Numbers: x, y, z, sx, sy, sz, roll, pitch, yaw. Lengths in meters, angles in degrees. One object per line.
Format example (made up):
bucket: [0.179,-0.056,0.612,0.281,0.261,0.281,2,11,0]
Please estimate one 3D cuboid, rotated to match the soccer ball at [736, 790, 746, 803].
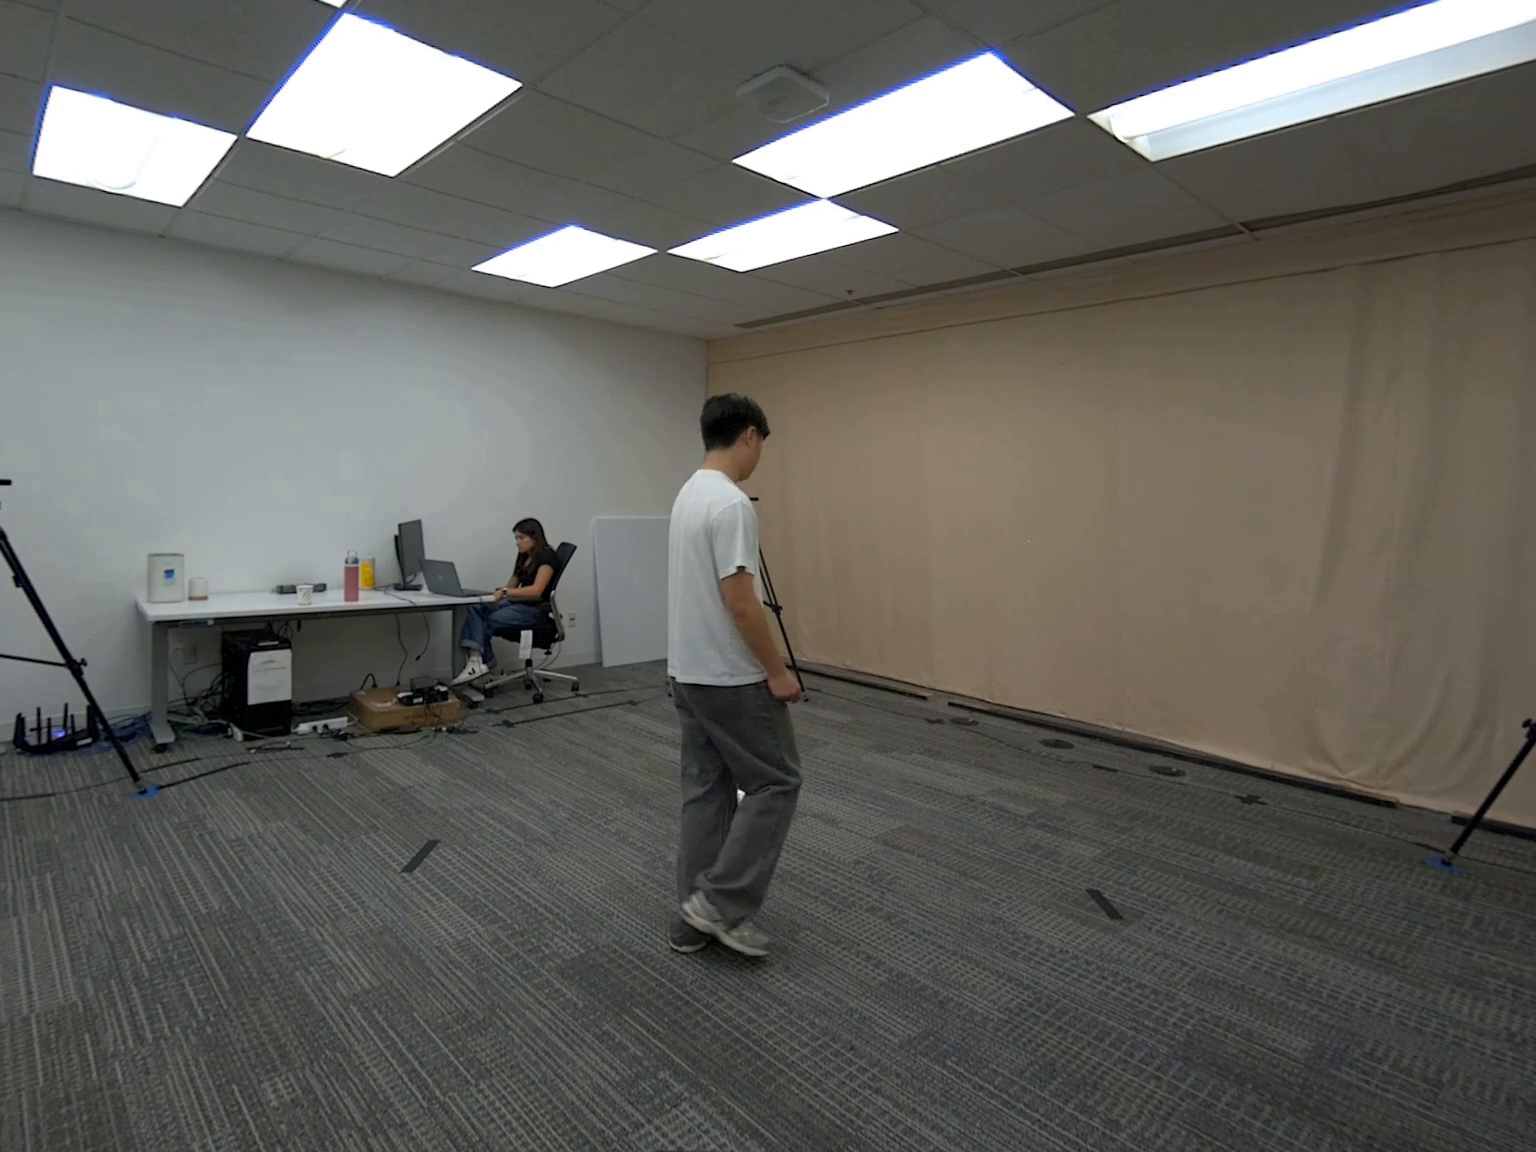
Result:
soccer ball: [-0.097,0.980,3.620,0.187,0.187,0.188,1,4,-1]
